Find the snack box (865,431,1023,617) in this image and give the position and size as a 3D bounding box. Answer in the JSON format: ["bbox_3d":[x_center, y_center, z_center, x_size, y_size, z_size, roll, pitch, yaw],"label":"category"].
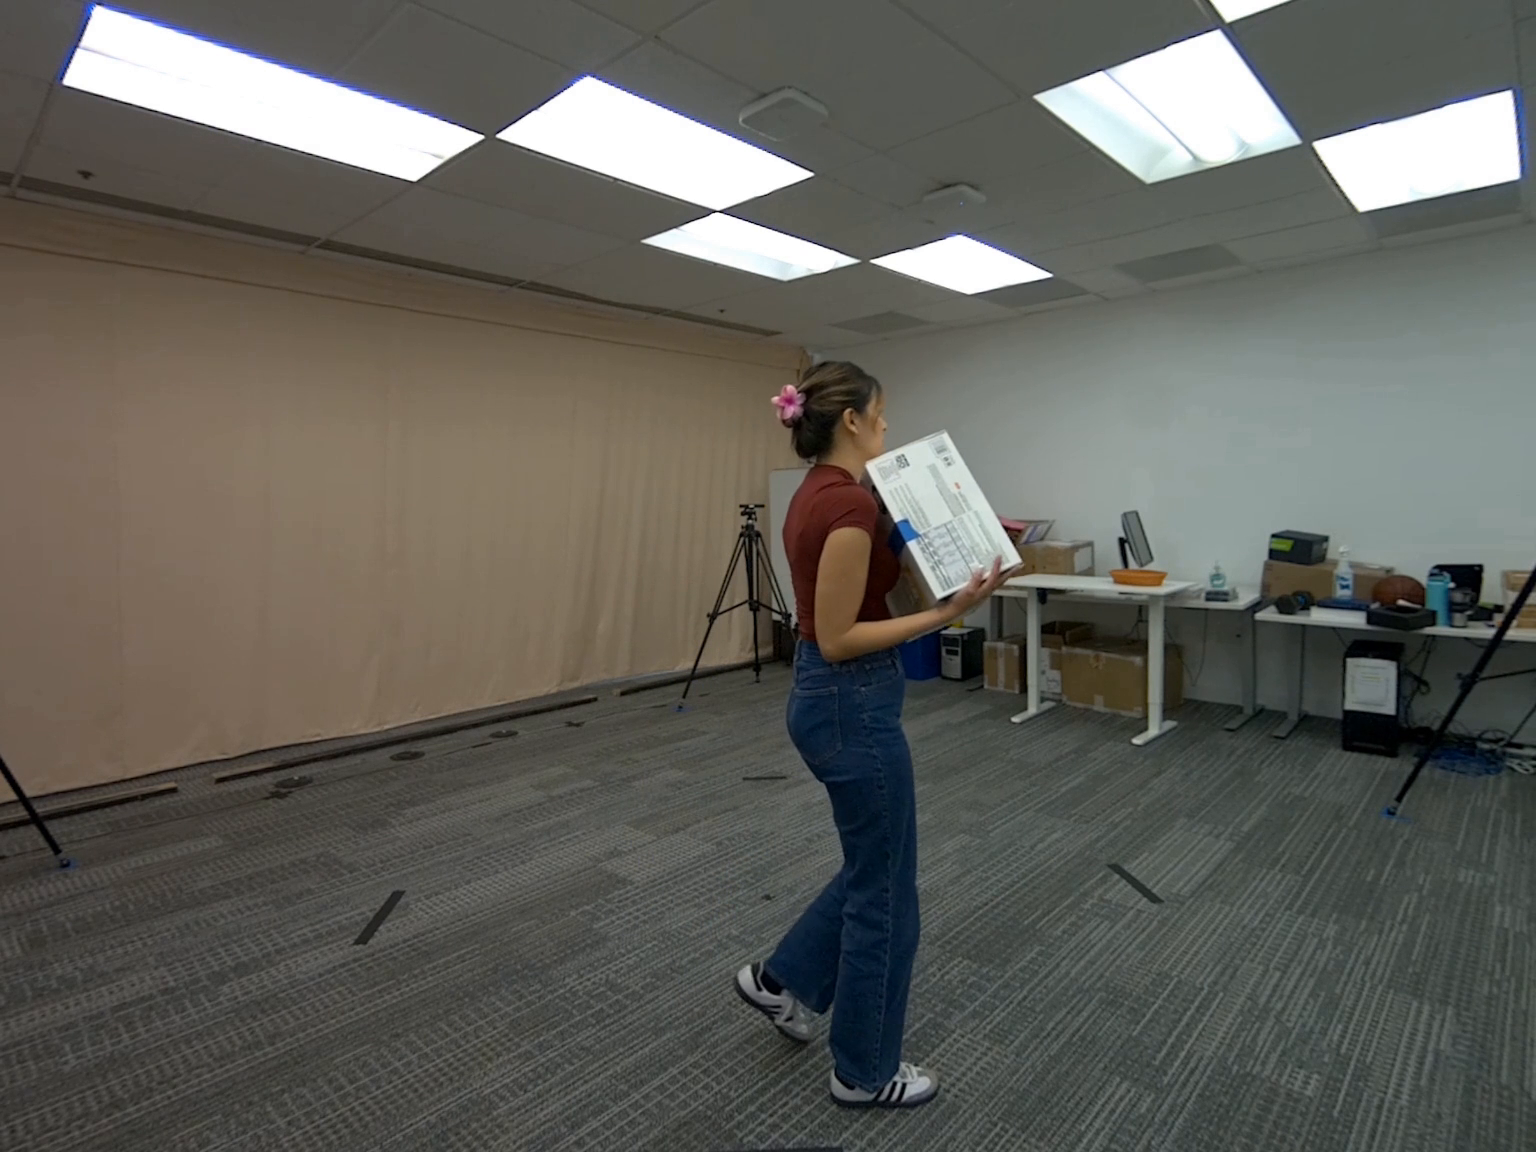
[{"bbox_3d":[0.368,-0.077,1.983,0.205,0.346,0.399,-22,-18,-6],"label":"snack box"}]
